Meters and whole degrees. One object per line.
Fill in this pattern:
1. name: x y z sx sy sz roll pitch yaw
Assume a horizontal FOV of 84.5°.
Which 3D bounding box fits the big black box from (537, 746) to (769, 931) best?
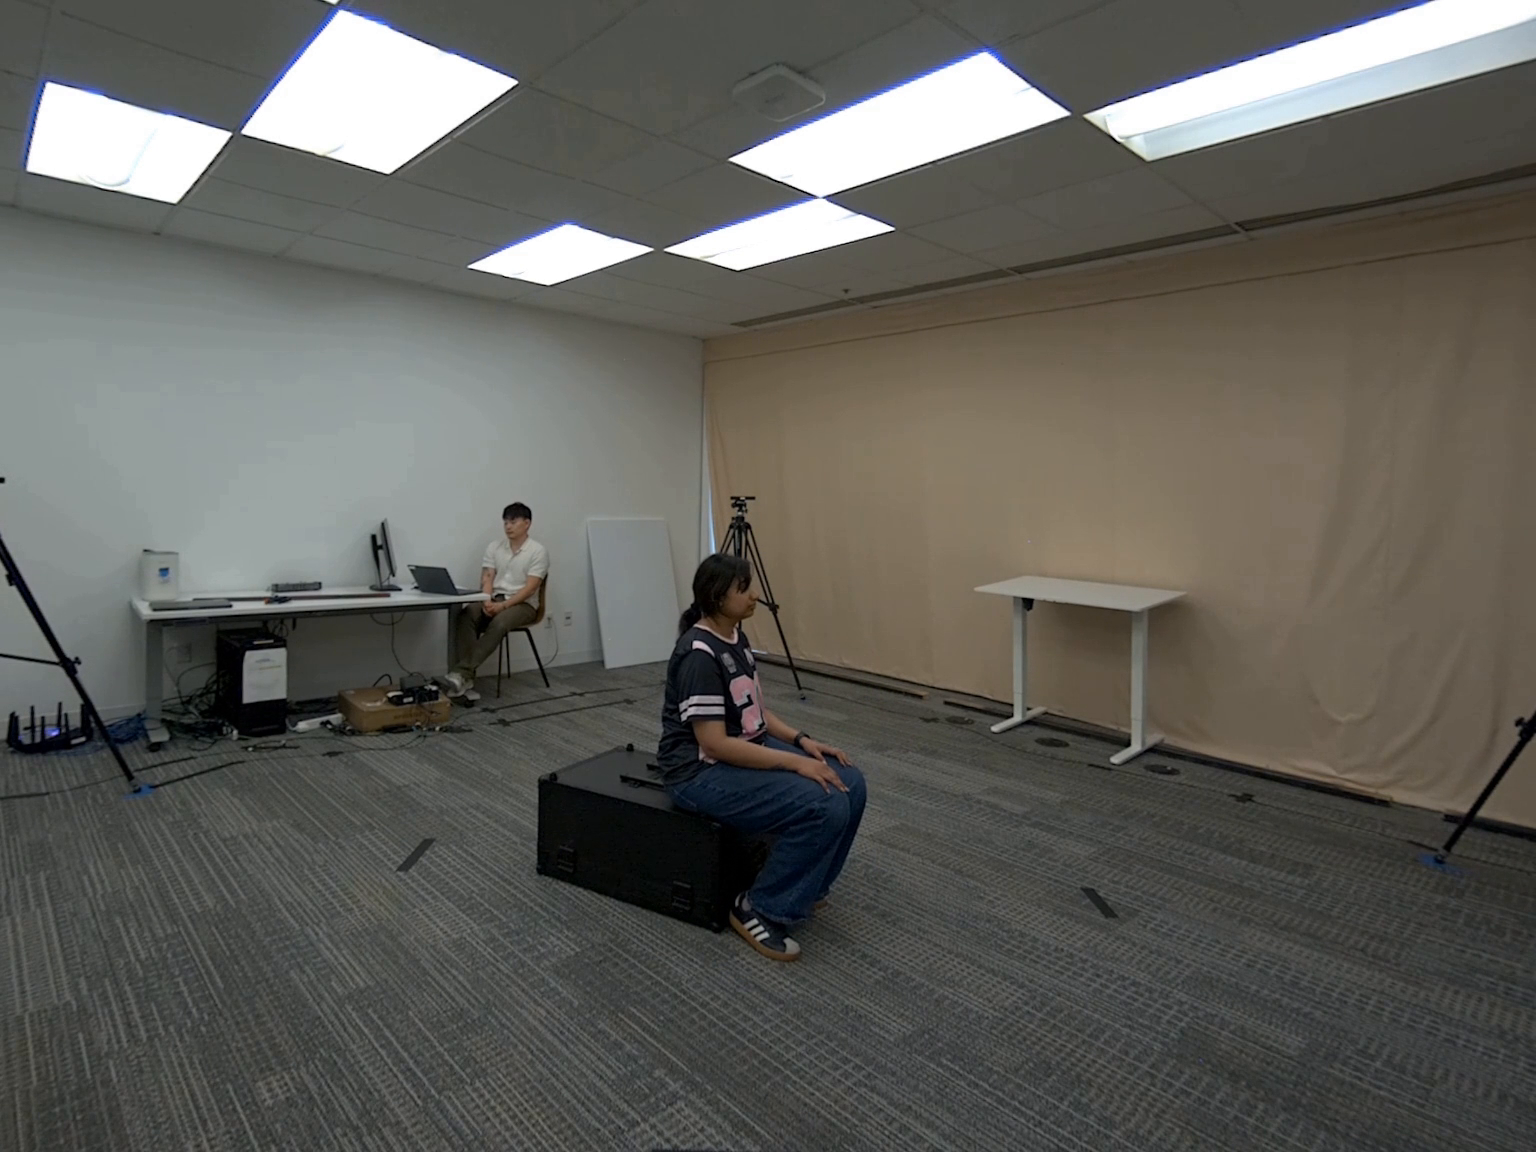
1. big black box: -0.425 0.915 3.089 0.887 0.384 0.514 4 7 29
